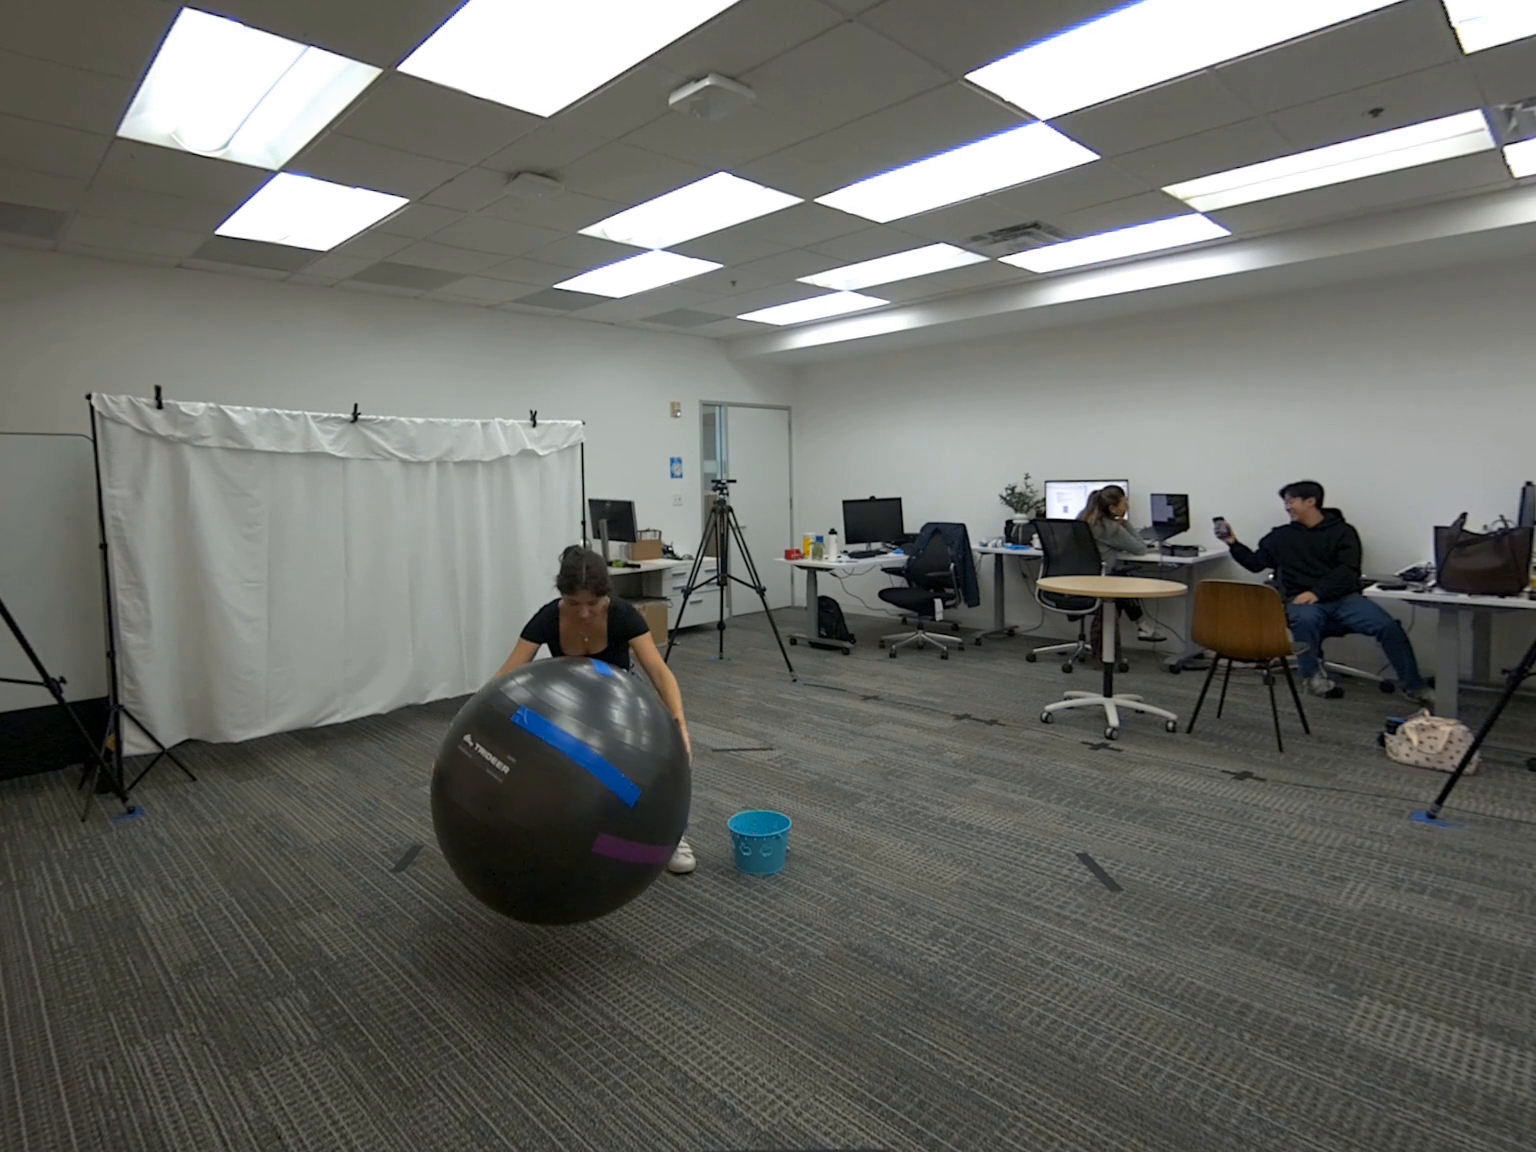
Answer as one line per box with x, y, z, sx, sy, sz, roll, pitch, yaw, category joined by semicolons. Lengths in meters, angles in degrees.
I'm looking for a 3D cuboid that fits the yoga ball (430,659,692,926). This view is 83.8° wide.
-0.615;0.624;2.536;0.757;0.755;0.762;-1;5;-2;yoga ball
